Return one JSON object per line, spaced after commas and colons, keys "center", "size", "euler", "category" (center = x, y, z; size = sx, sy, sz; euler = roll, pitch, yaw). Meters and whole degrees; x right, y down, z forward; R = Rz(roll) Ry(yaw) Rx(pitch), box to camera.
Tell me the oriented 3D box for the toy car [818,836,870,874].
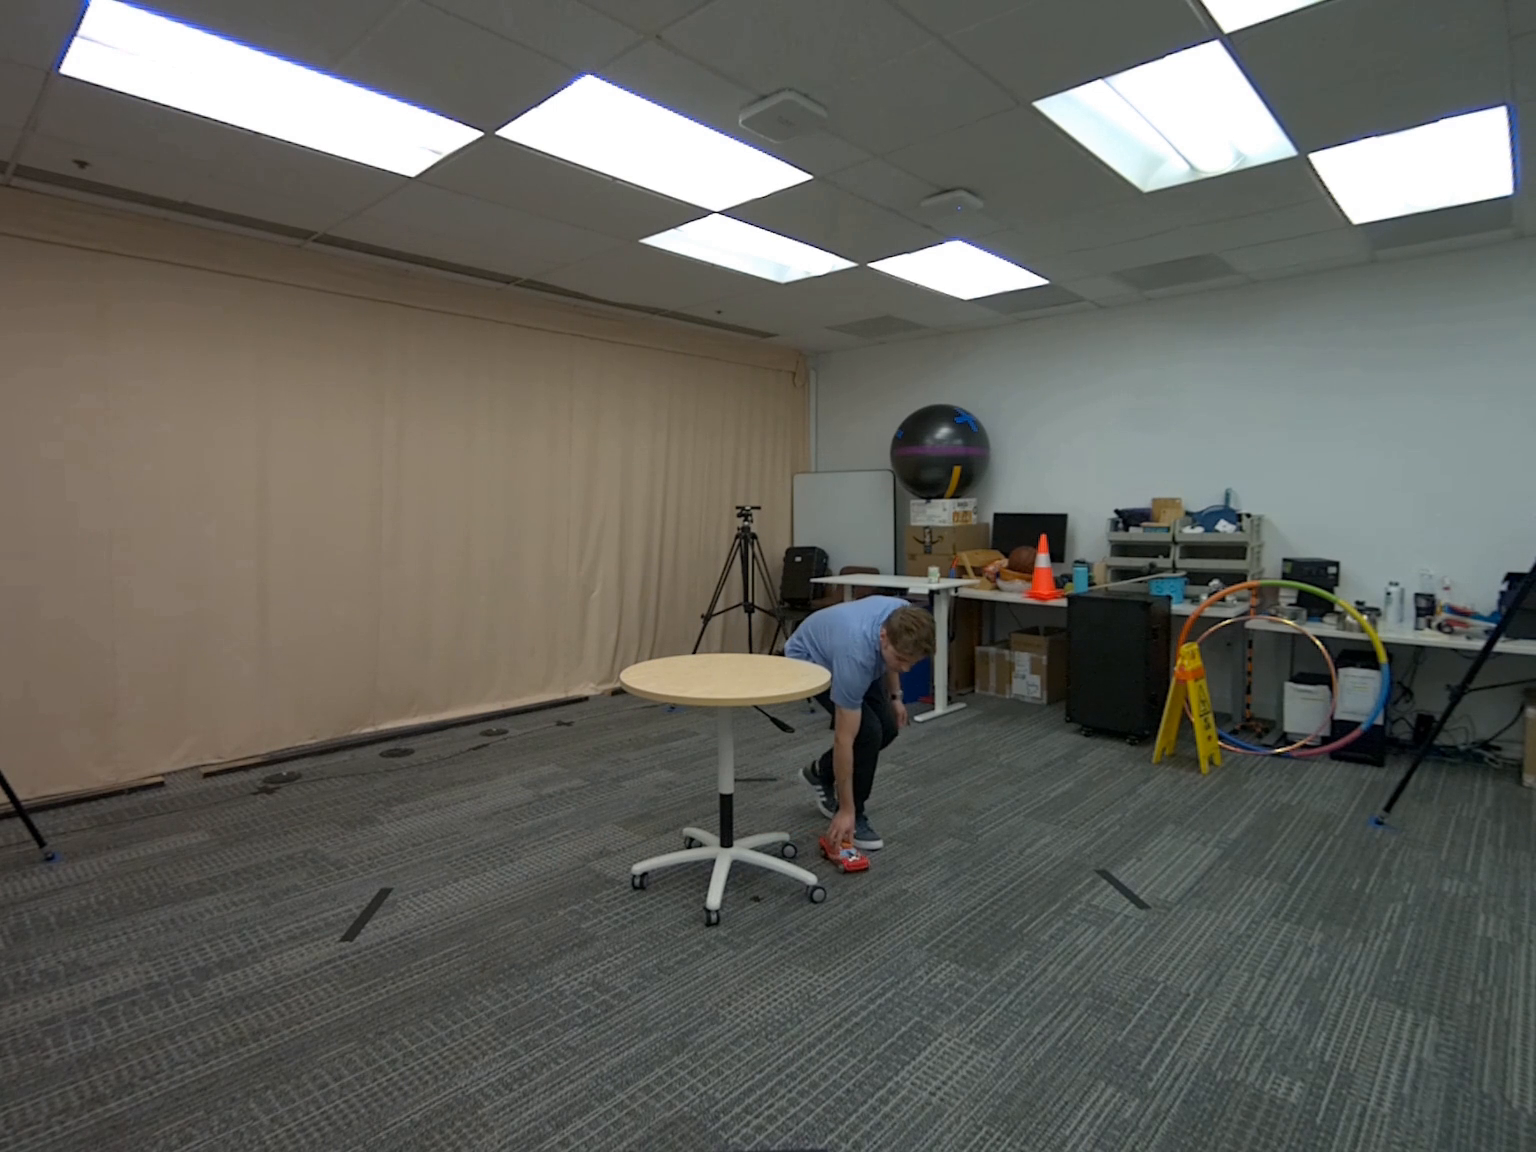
{"center": [0.293, 1.088, 3.297], "size": [0.127, 0.082, 0.262], "euler": [-2, 15, -23], "category": "toy car"}
